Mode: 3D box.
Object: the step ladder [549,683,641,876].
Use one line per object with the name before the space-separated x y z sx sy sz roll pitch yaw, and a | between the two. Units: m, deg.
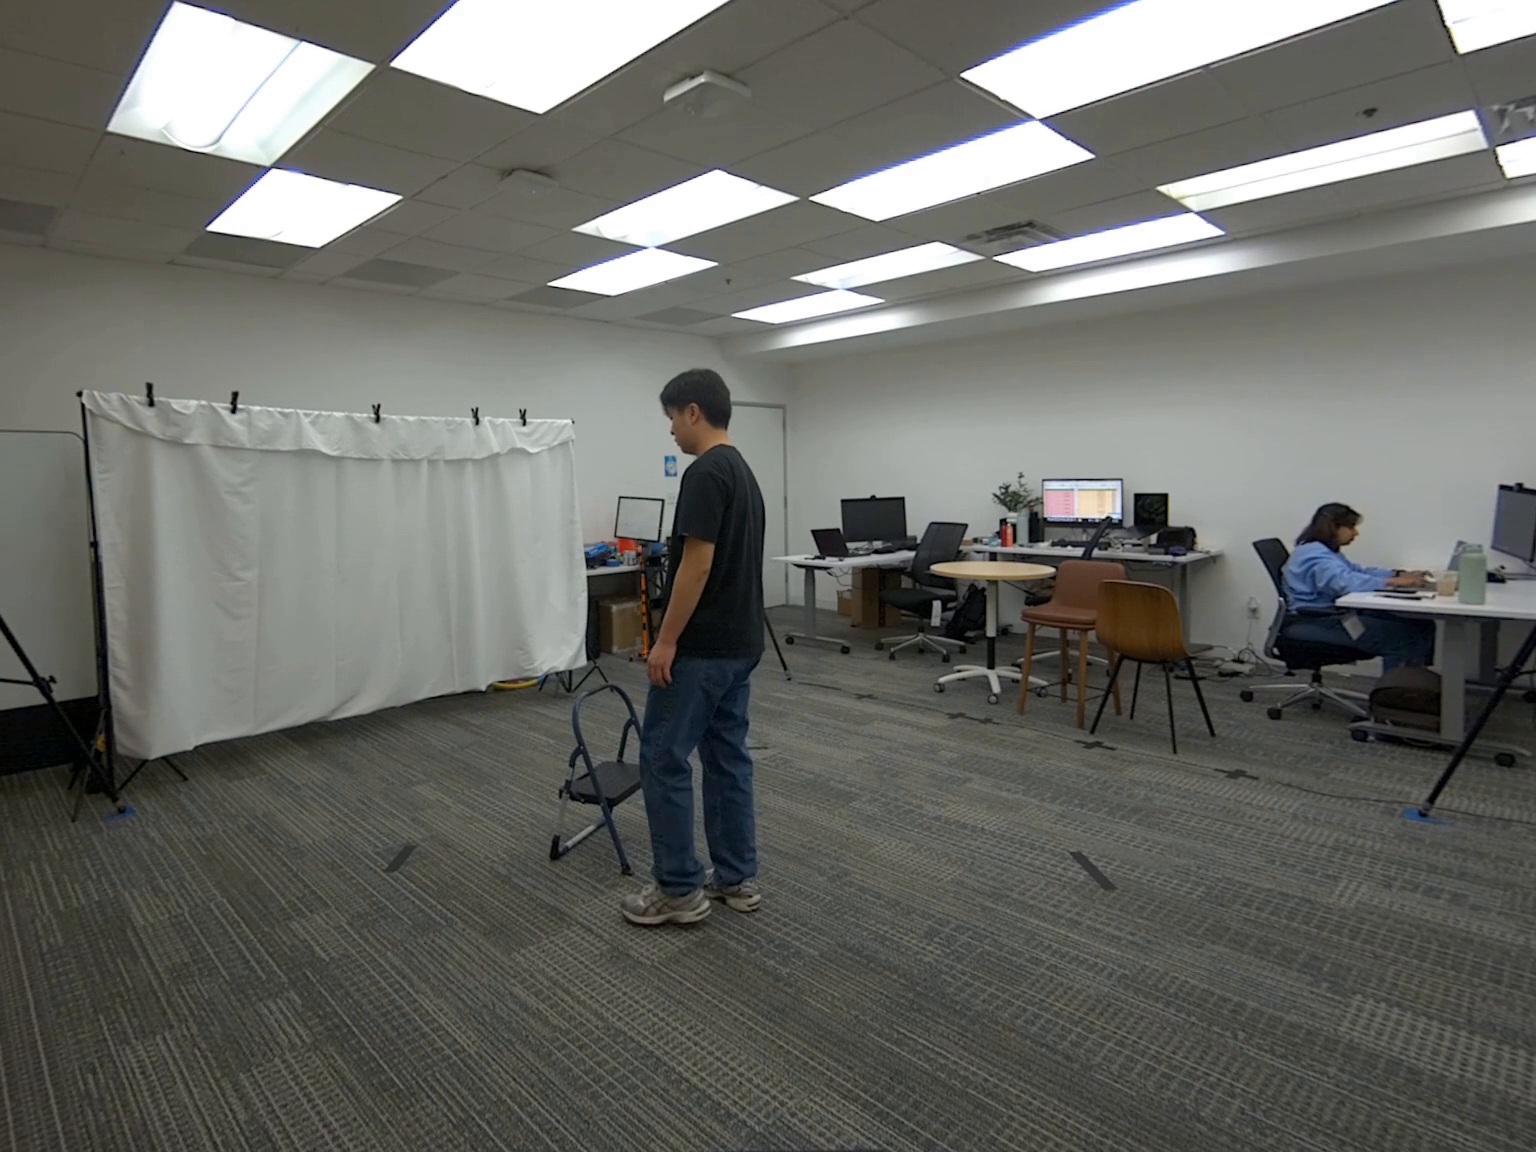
step ladder | -0.585 0.731 3.263 0.356 0.604 0.424 1 5 20
